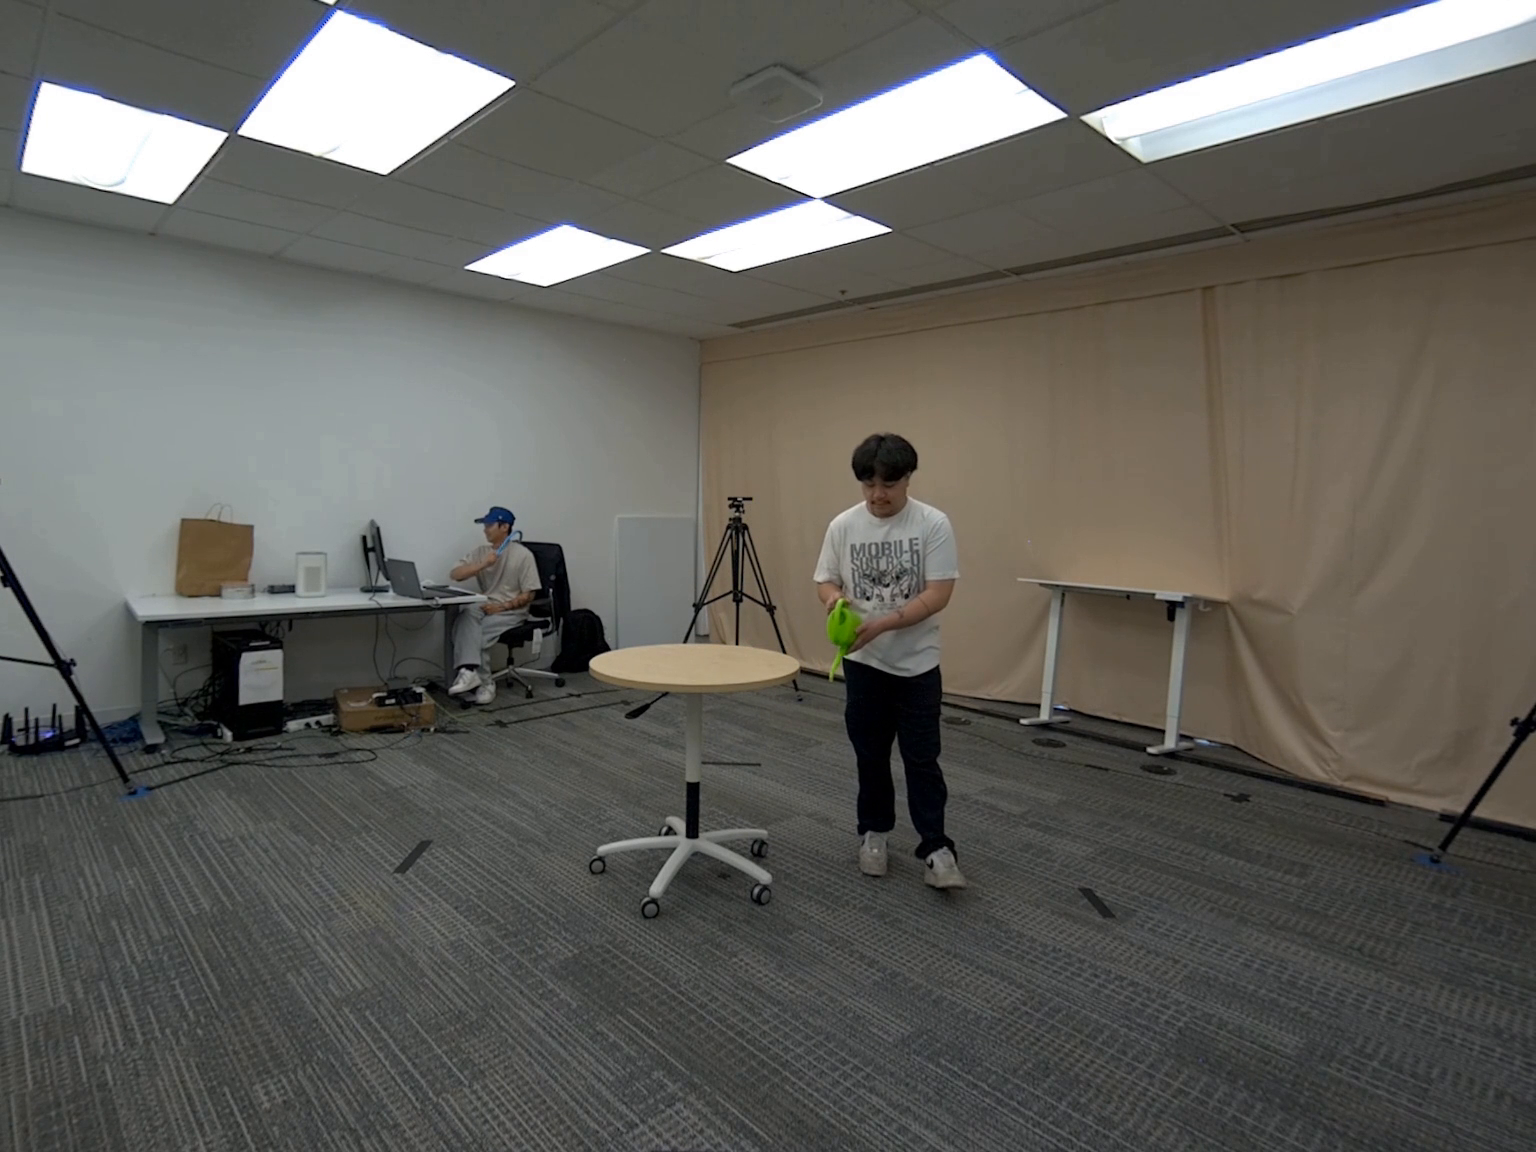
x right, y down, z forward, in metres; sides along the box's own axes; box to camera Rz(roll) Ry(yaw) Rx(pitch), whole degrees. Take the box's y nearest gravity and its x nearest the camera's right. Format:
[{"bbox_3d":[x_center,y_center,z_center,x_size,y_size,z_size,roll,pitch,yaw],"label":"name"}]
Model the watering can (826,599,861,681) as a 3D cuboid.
[{"bbox_3d":[0.242,0.221,2.903,0.100,0.279,0.172,16,-5,25],"label":"watering can"}]
